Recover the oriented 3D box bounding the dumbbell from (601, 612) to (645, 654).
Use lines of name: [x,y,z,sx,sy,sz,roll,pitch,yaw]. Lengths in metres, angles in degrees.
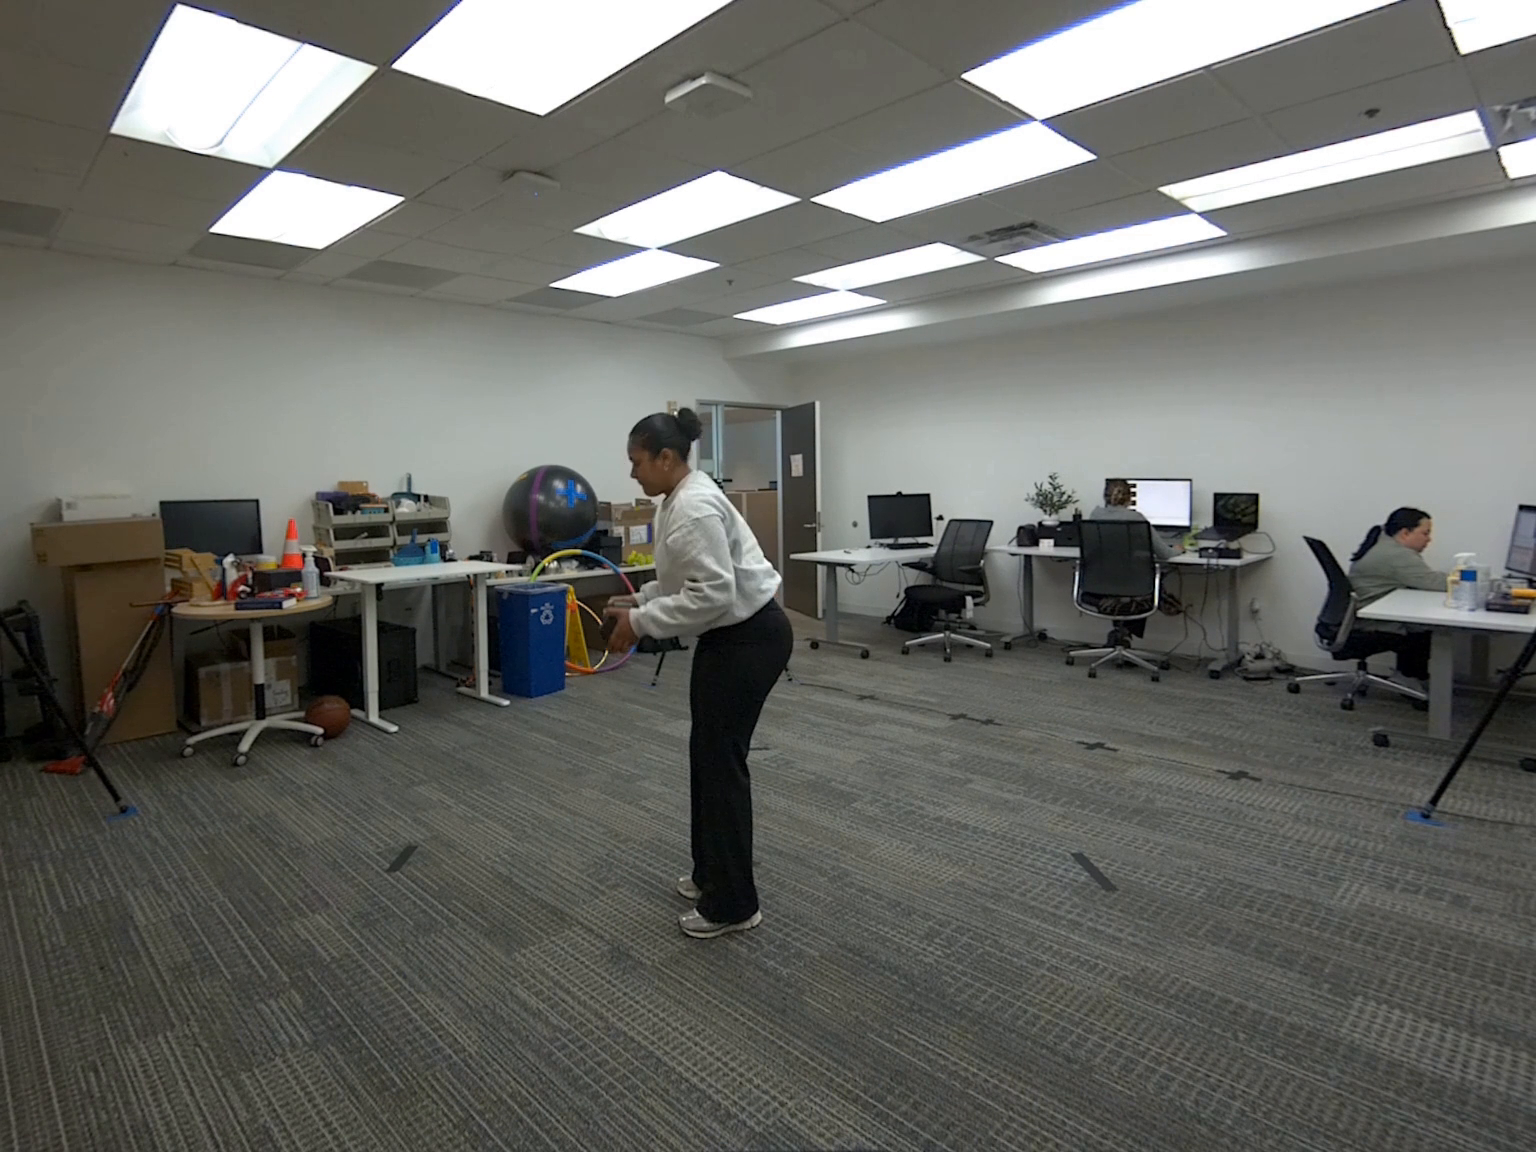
dumbbell: [-0.451,0.159,2.696,0.122,0.108,0.296,2,5,-7]
